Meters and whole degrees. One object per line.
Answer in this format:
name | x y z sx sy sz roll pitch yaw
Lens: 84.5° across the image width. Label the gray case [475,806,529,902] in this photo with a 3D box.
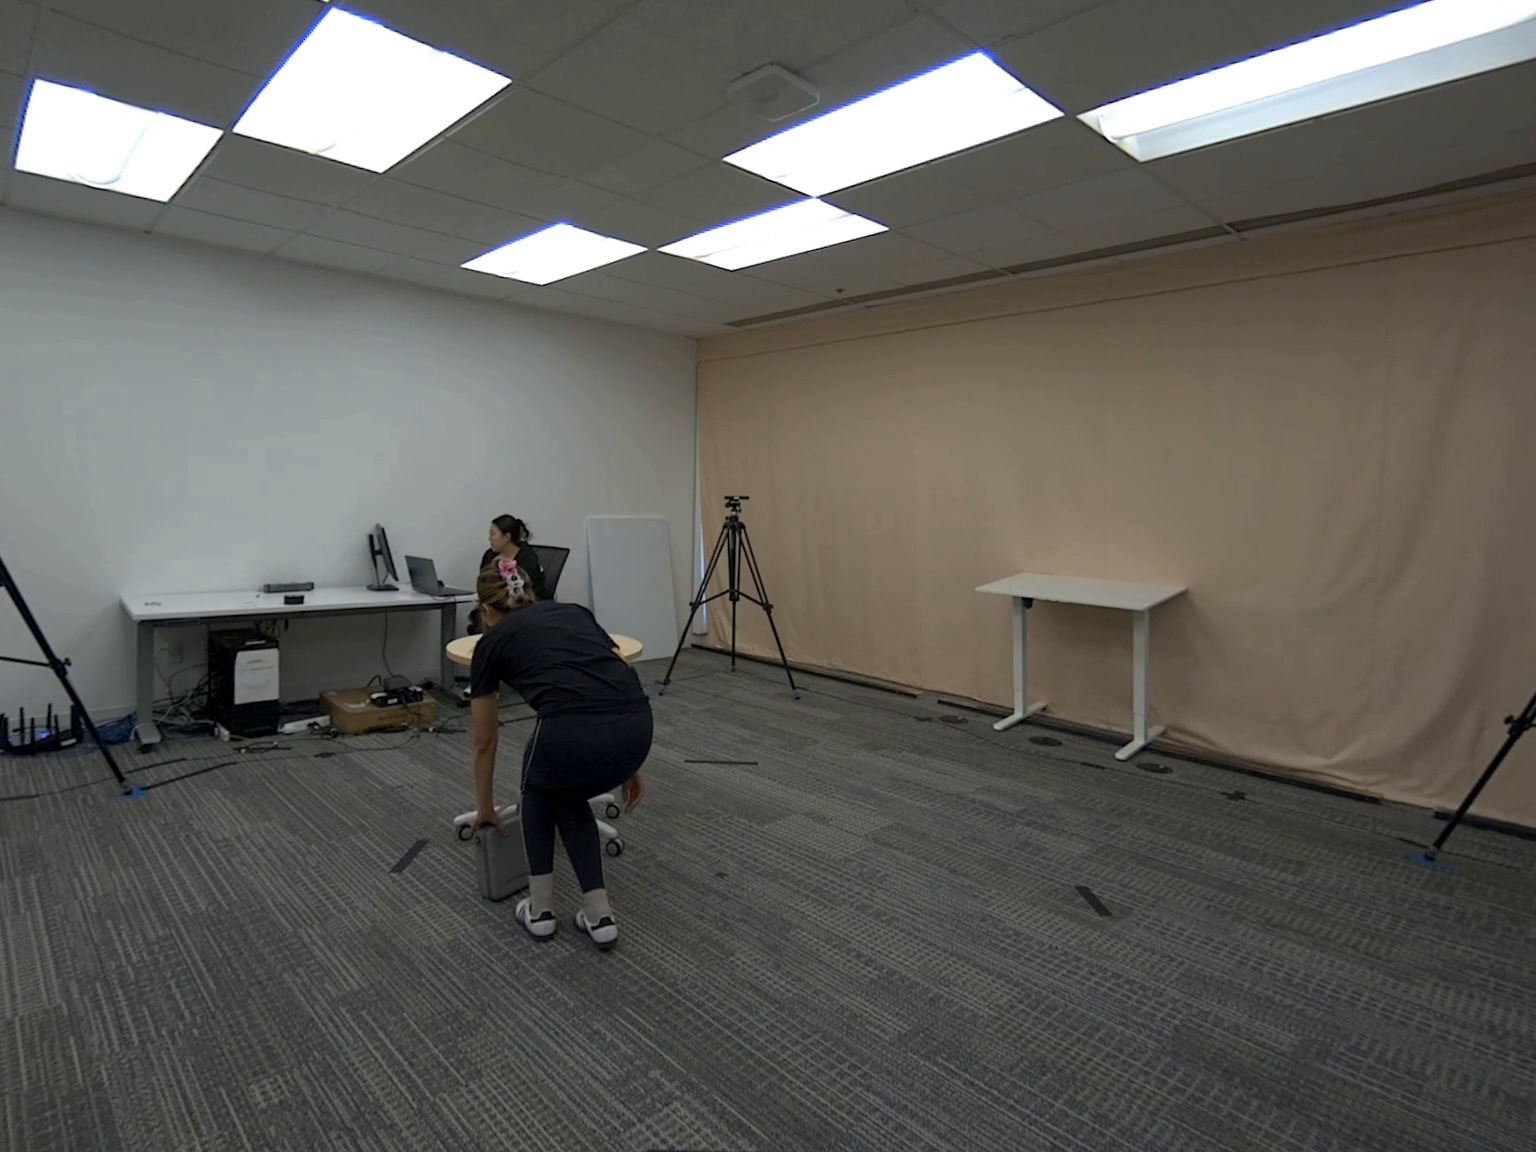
gray case | -0.907 0.971 2.958 0.106 0.261 0.251 -8 -2 36
